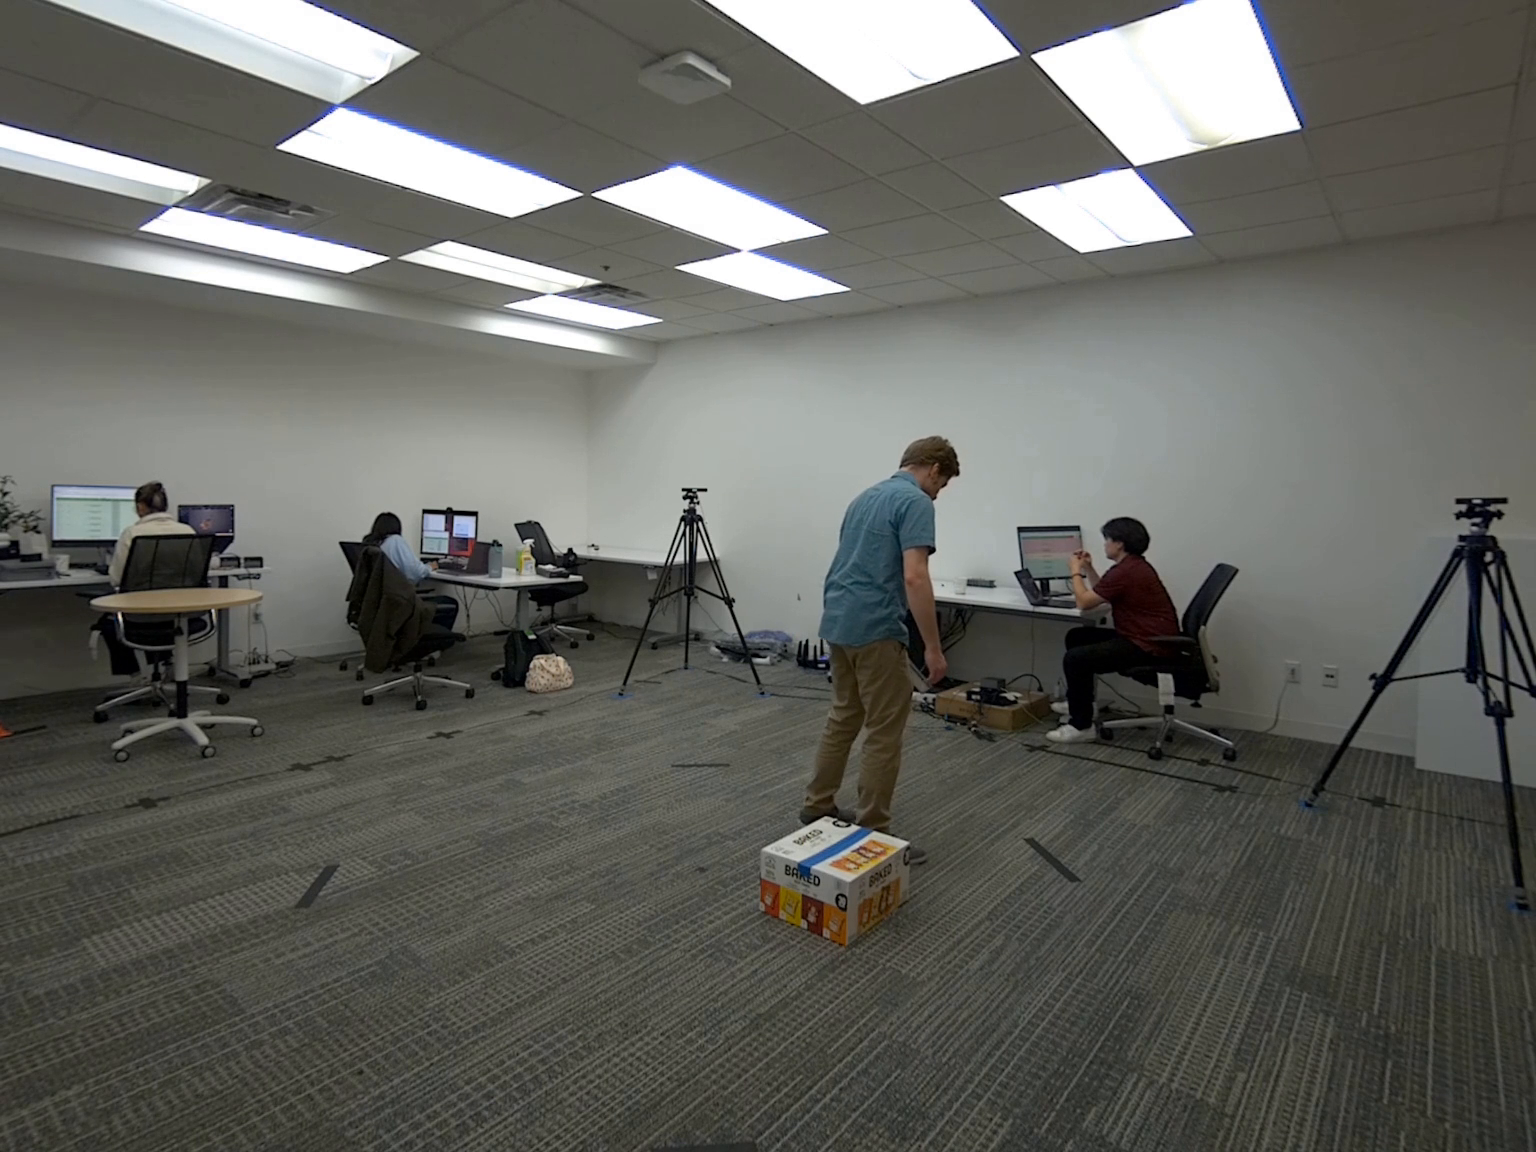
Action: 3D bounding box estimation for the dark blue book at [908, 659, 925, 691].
[{"bbox_3d":[0.564,0.369,3.486,0.045,0.252,0.159,-43,-19,8],"label":"dark blue book"}]
